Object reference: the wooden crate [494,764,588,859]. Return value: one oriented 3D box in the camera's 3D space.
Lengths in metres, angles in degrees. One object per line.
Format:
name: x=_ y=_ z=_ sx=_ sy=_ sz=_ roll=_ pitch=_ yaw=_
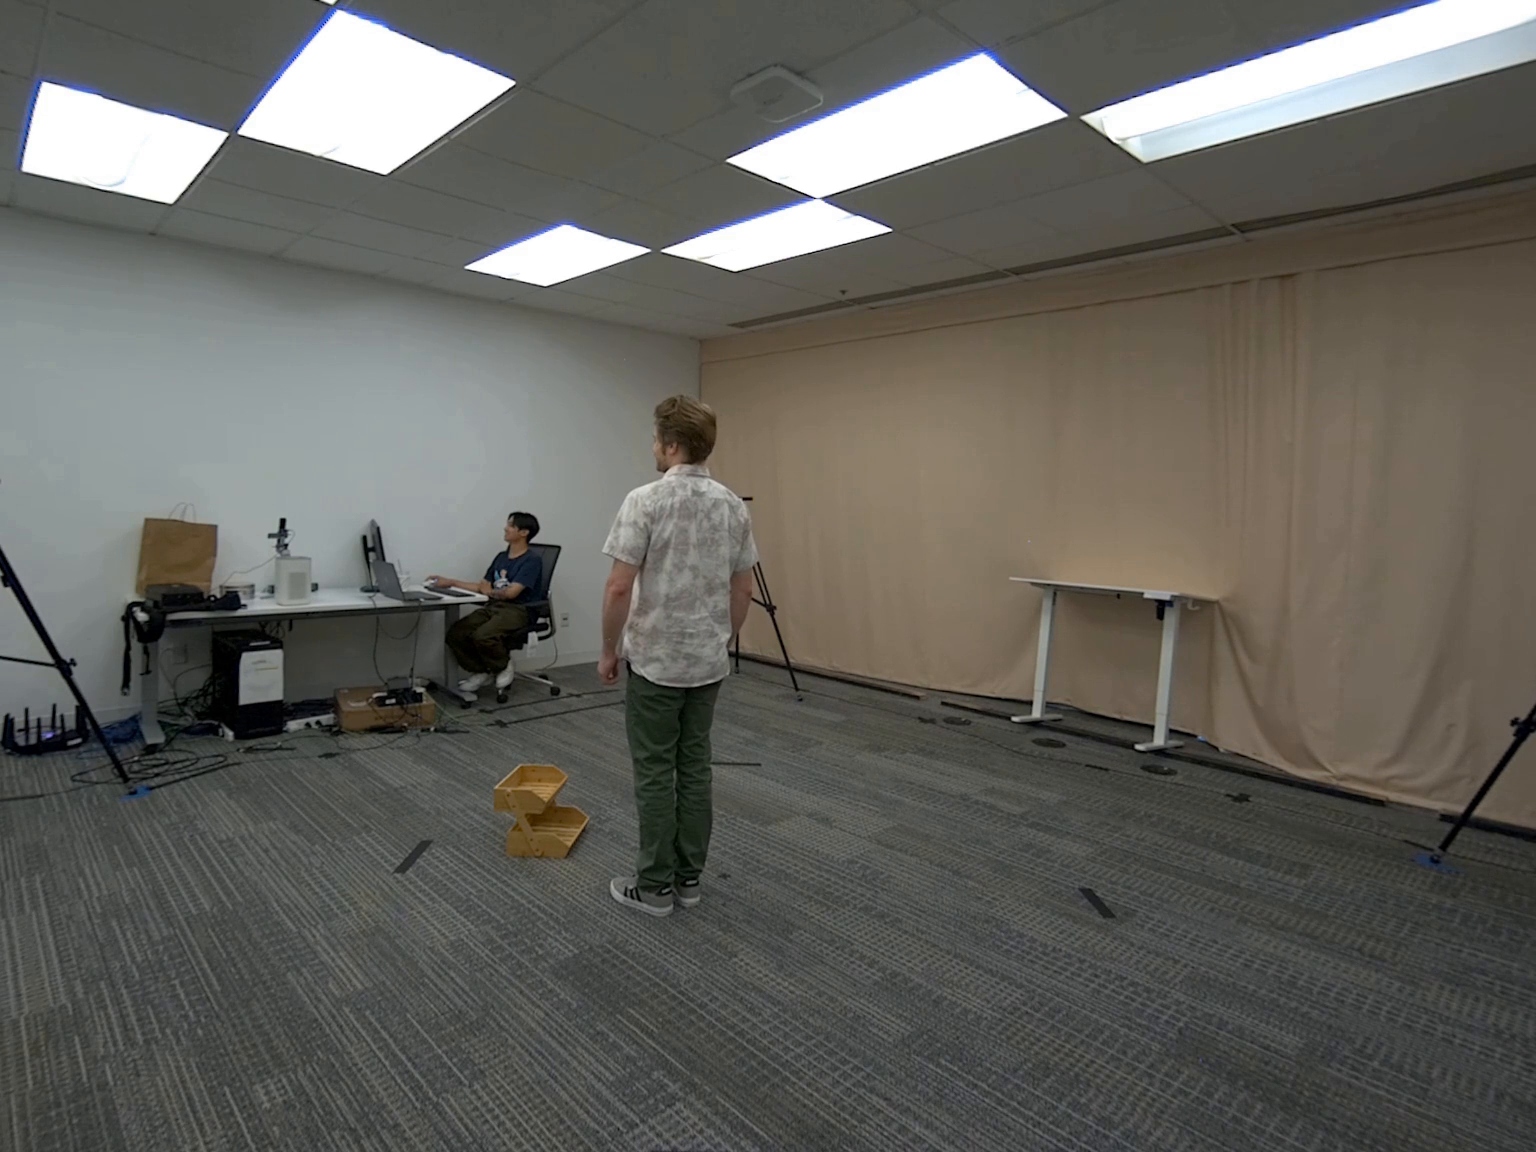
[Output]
wooden crate: x=-0.905 y=0.933 z=3.377 sx=0.303 sy=0.272 sz=0.324 roll=1 pitch=4 yaw=3
